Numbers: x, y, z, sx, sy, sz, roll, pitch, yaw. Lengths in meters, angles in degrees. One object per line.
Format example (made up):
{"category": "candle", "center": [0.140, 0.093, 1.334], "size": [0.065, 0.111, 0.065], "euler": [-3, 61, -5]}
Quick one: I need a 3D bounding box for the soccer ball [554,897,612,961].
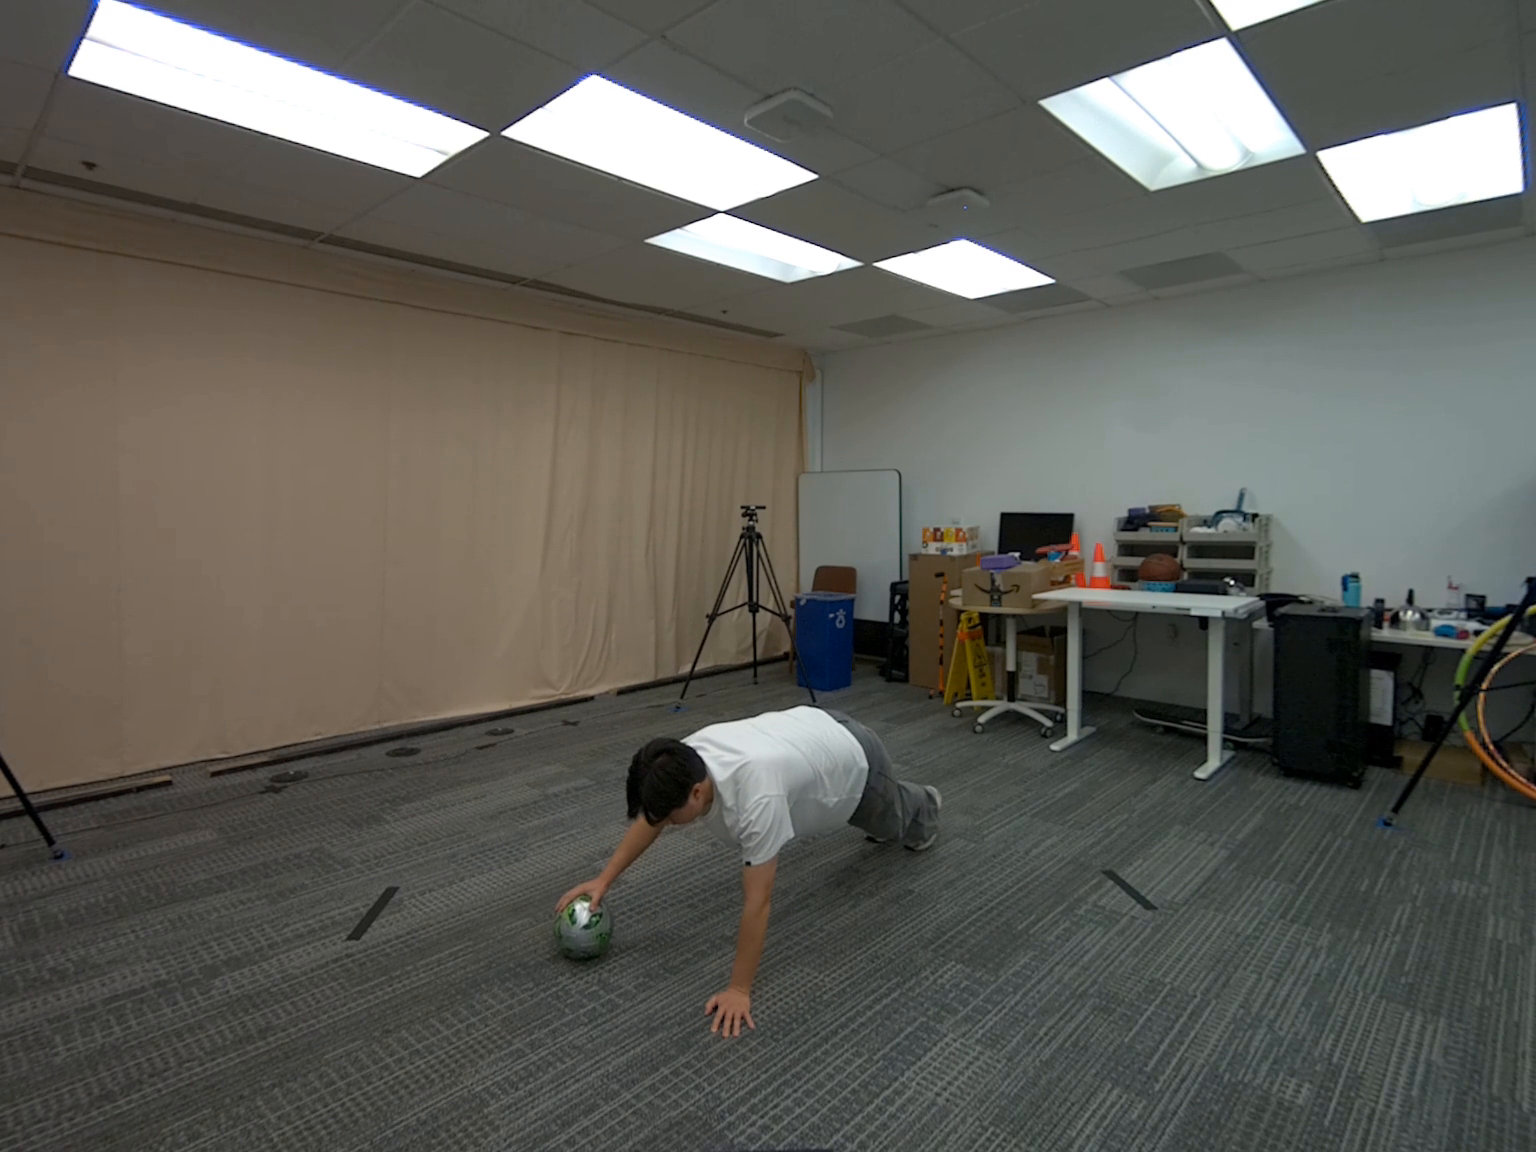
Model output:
{"category": "soccer ball", "center": [-0.566, 1.096, 2.609], "size": [0.187, 0.187, 0.188], "euler": [0, 4, -2]}
